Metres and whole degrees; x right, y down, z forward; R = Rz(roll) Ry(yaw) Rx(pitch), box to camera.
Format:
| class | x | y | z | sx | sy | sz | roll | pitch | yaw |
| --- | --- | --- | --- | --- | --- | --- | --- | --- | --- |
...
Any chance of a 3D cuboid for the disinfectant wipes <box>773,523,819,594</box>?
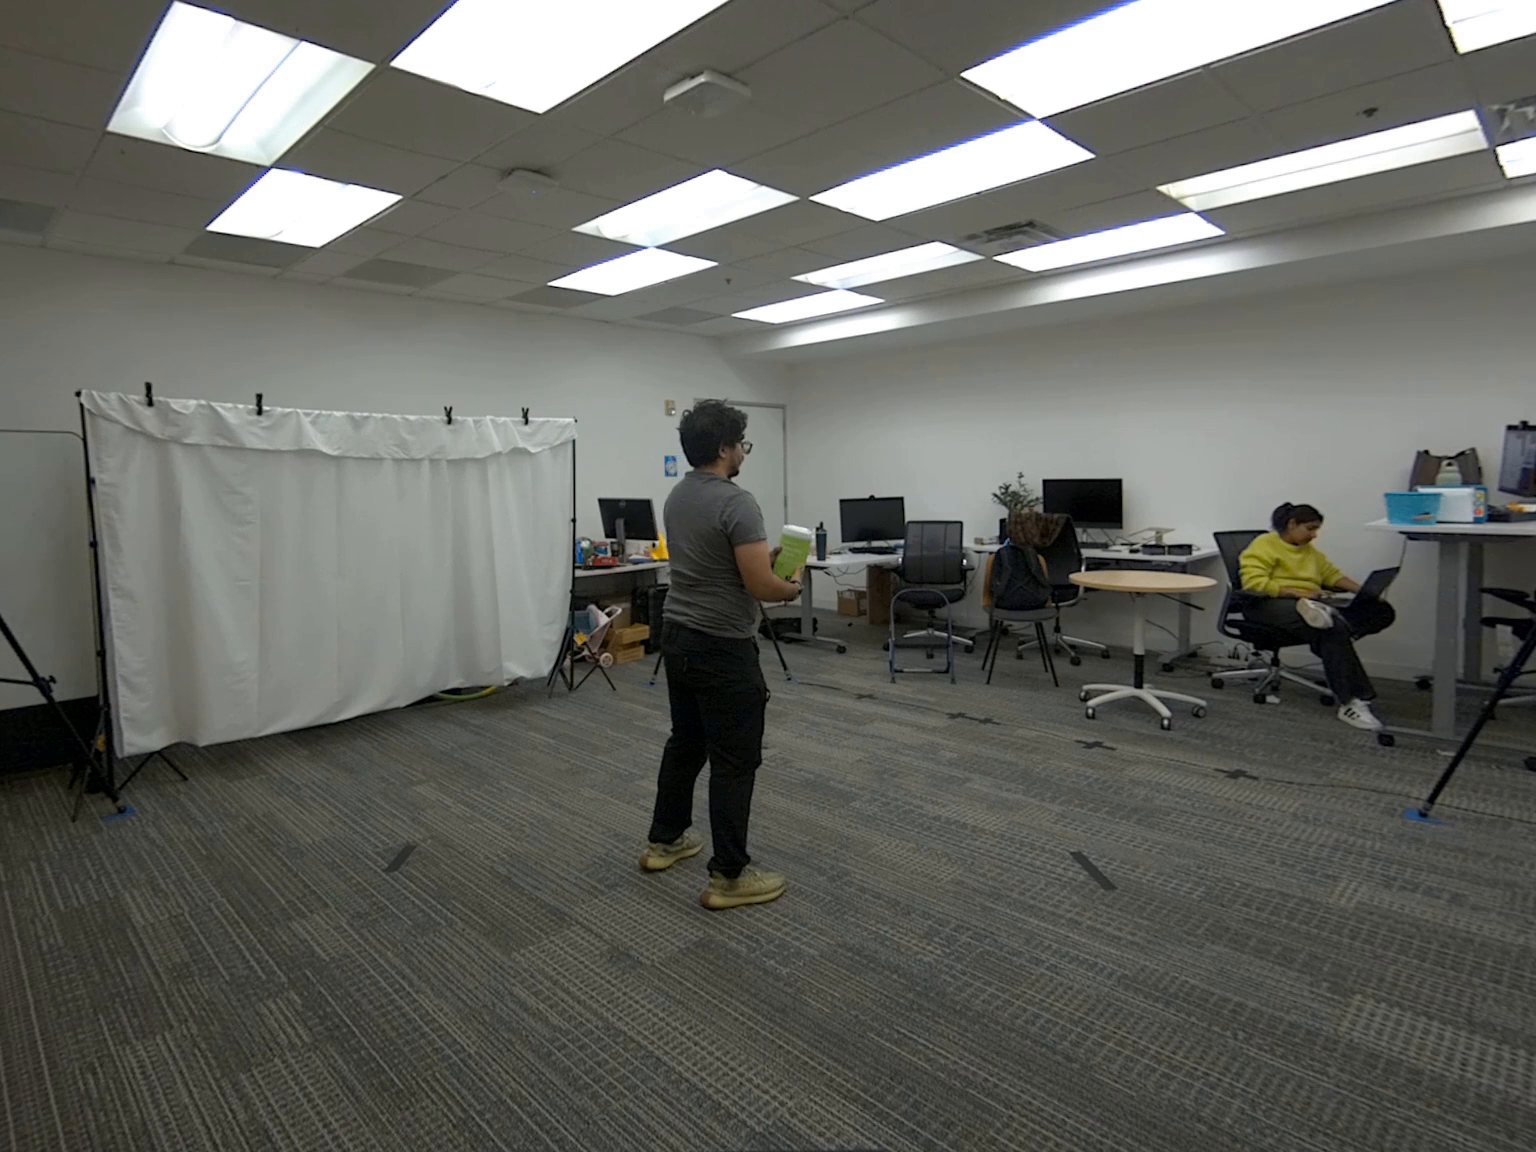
| class | x | y | z | sx | sy | sz | roll | pitch | yaw |
| --- | --- | --- | --- | --- | --- | --- | --- | --- | --- |
| disinfectant wipes | 0.091 | -0.067 | 3.051 | 0.117 | 0.216 | 0.118 | 12 | 6 | -3 |
